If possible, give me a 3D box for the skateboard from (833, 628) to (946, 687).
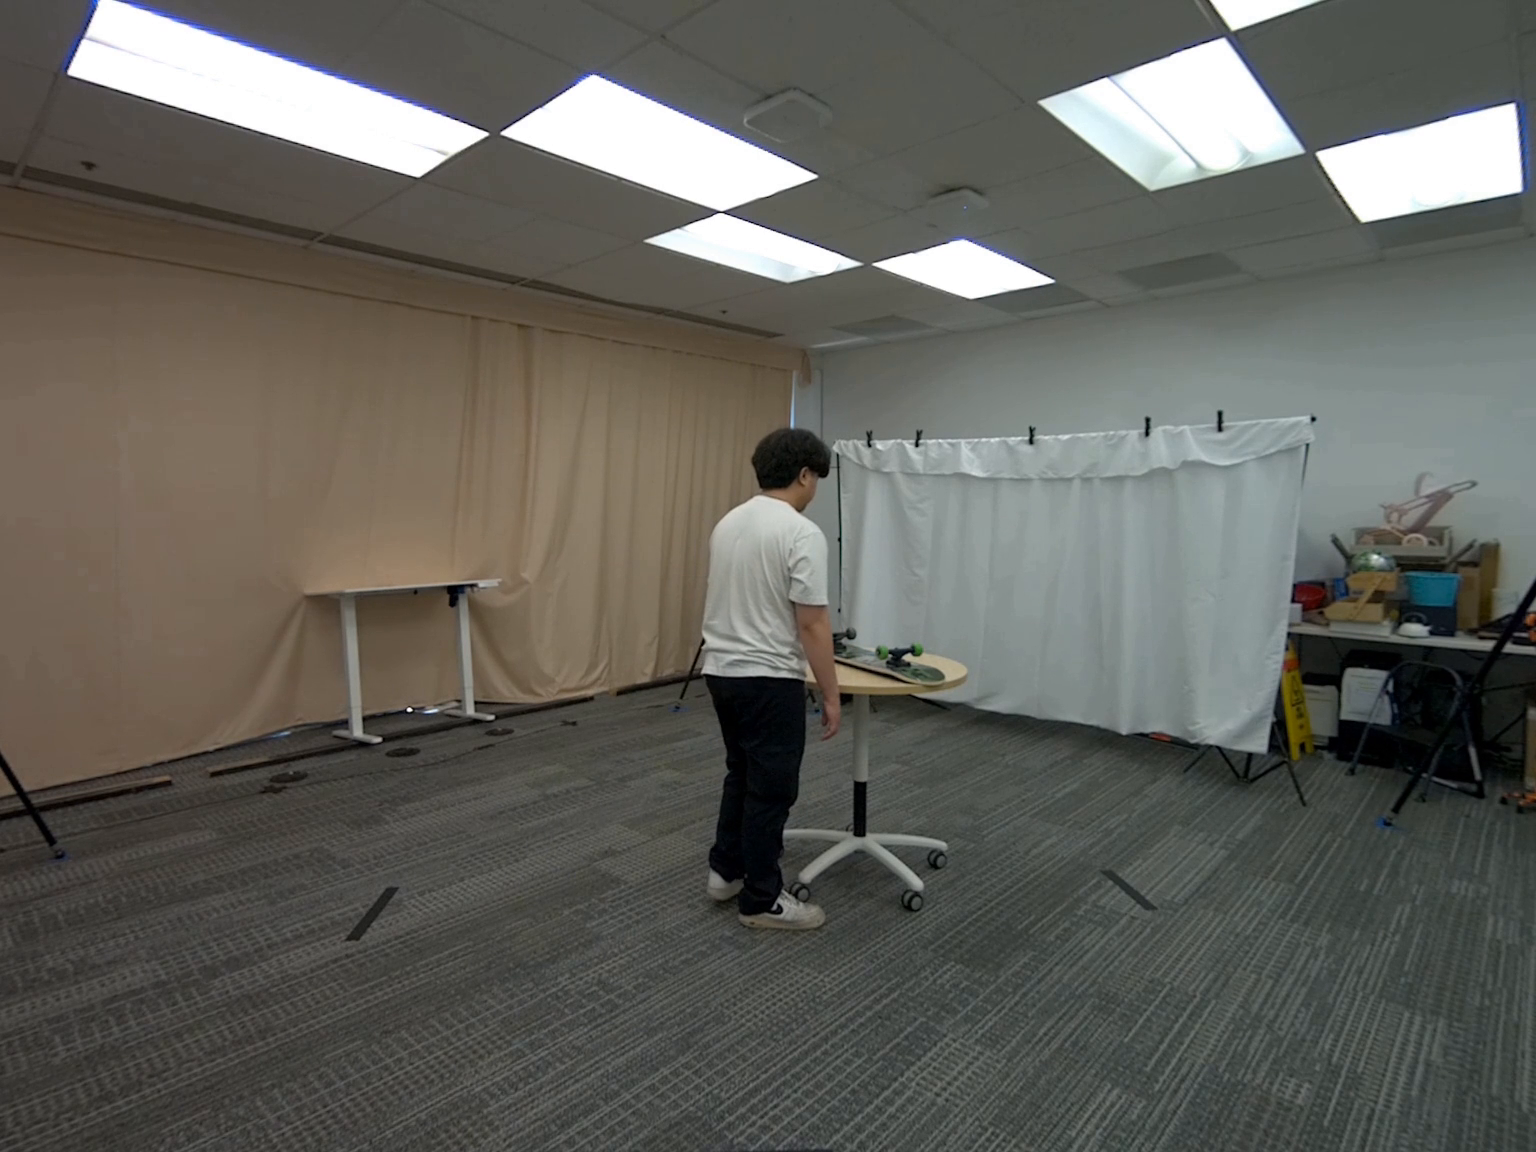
[{"bbox_3d":[0.378,0.284,3.167,0.188,0.110,0.807,-1,4,-28],"label":"skateboard"}]
